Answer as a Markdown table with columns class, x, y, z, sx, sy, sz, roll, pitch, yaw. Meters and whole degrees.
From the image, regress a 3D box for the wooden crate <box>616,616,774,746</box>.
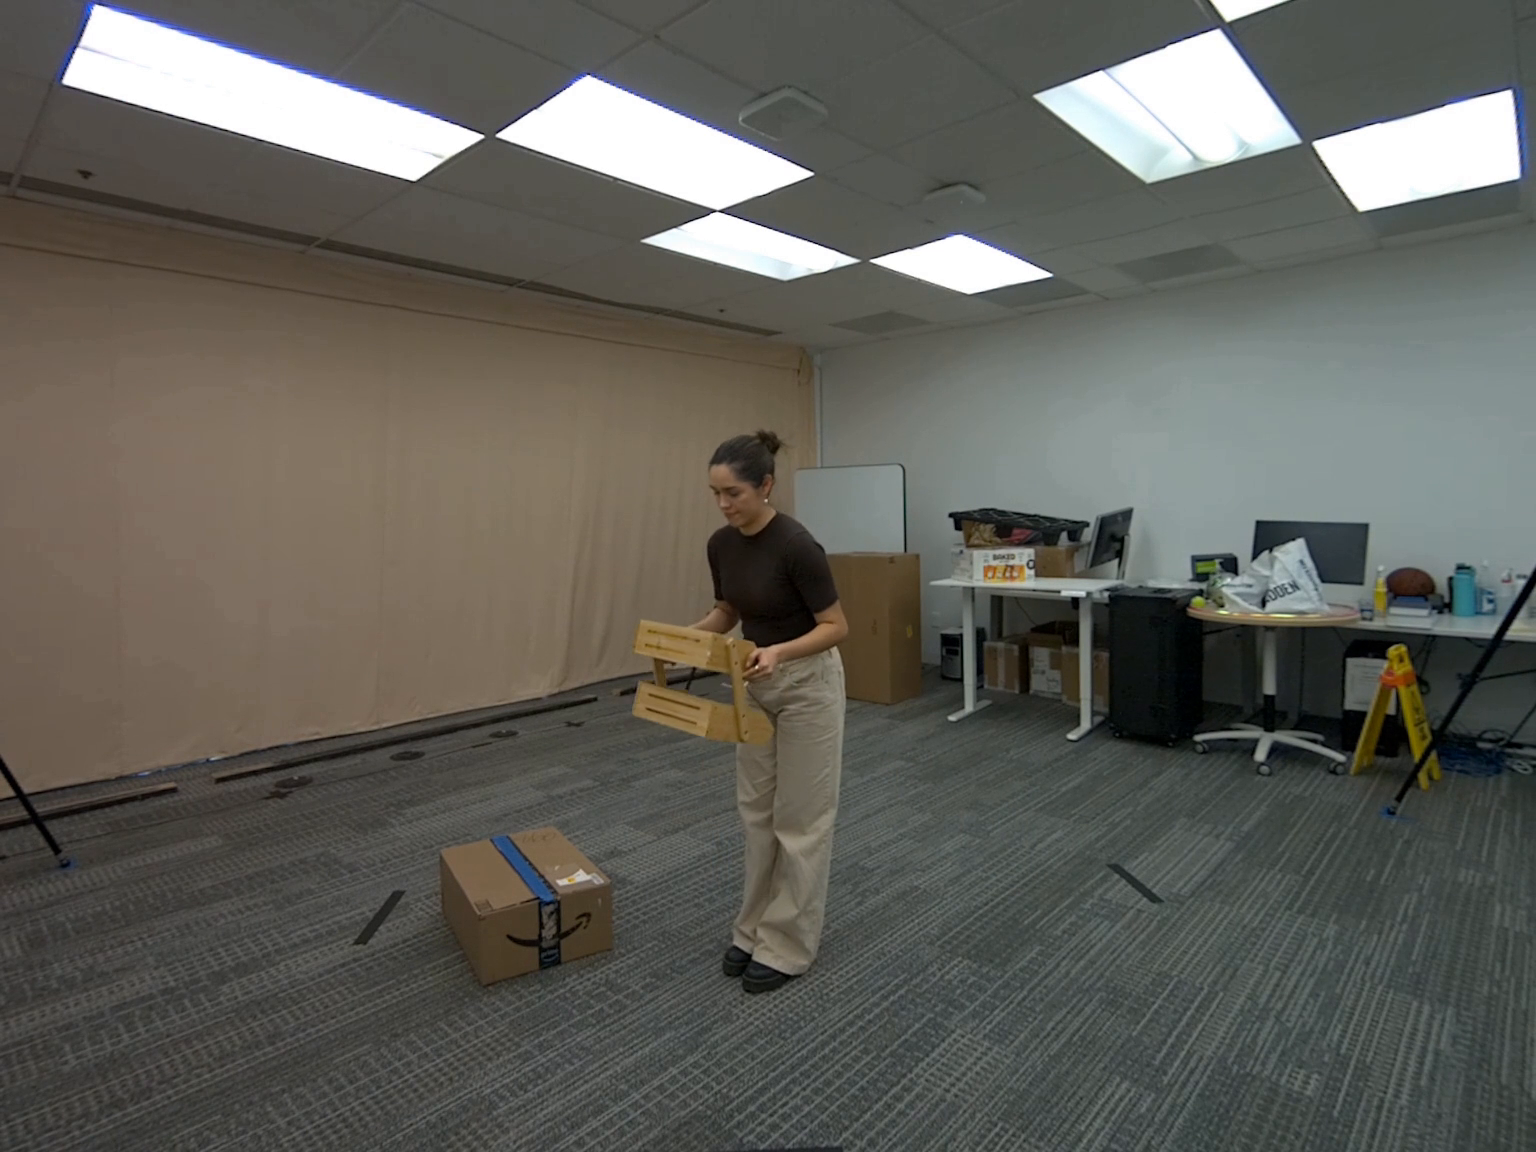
| class | x | y | z | sx | sy | sz | roll | pitch | yaw |
| --- | --- | --- | --- | --- | --- | --- | --- | --- | --- |
| wooden crate | -0.168 | 0.283 | 2.284 | 0.335 | 0.274 | 0.291 | 5 | -7 | 43 |
